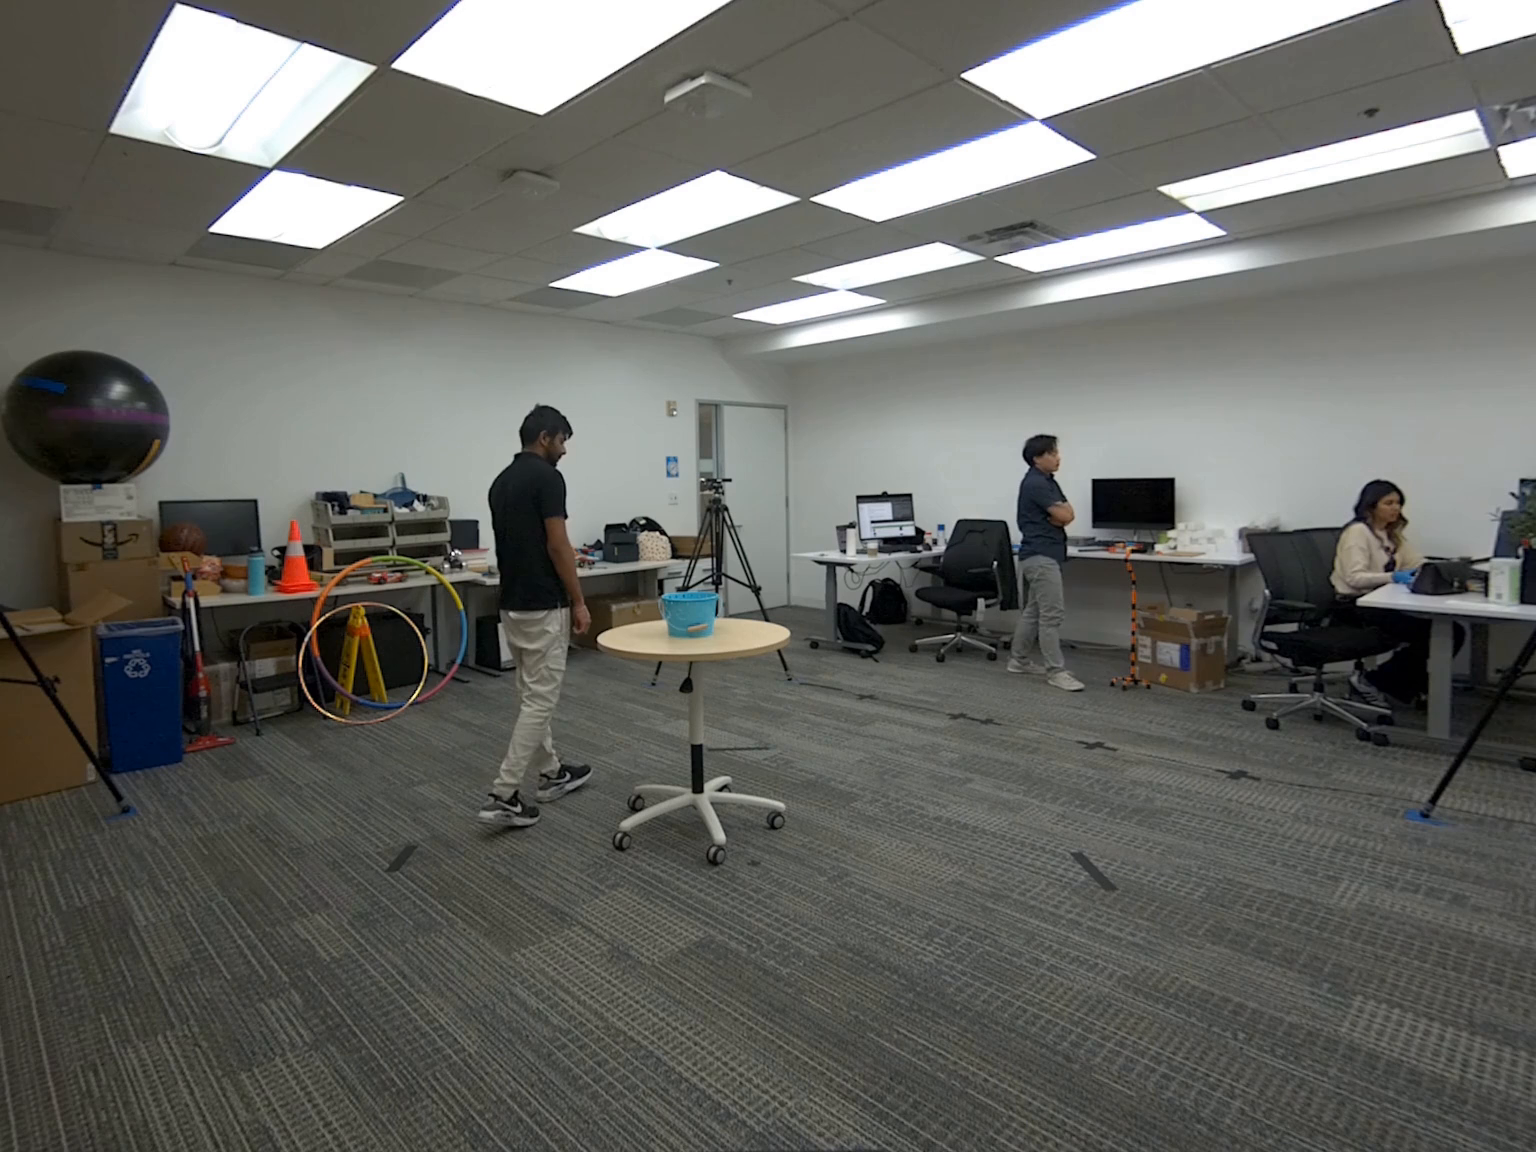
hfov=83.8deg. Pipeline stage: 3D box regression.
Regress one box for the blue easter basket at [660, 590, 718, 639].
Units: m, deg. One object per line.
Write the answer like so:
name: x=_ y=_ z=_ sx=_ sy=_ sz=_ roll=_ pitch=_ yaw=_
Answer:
blue easter basket: x=-0.311 y=0.158 z=3.422 sx=0.243 sy=0.155 sz=0.245 roll=-3 pitch=5 yaw=-1
